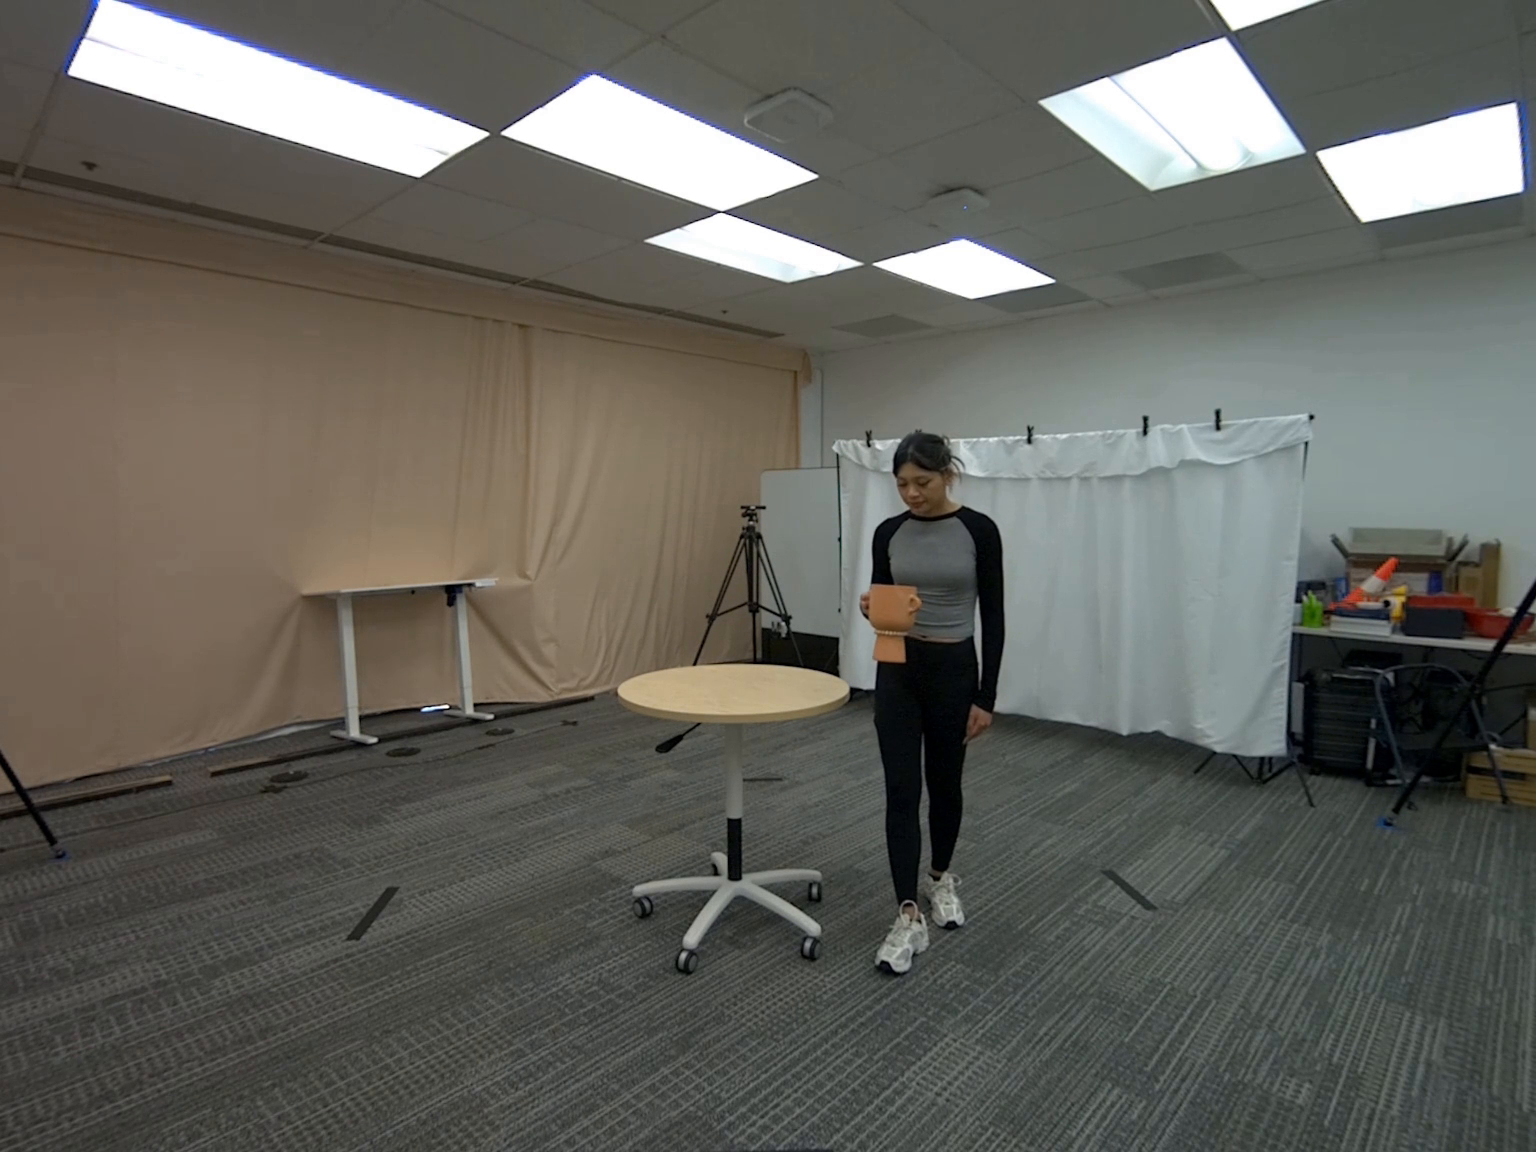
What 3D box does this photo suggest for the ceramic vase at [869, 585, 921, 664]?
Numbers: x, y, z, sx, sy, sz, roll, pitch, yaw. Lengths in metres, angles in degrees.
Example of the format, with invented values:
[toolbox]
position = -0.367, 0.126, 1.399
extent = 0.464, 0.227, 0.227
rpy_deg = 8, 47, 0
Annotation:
[ceramic vase]
position = 0.370, 0.139, 2.465
extent = 0.134, 0.220, 0.159
rpy_deg = 2, -2, -3
